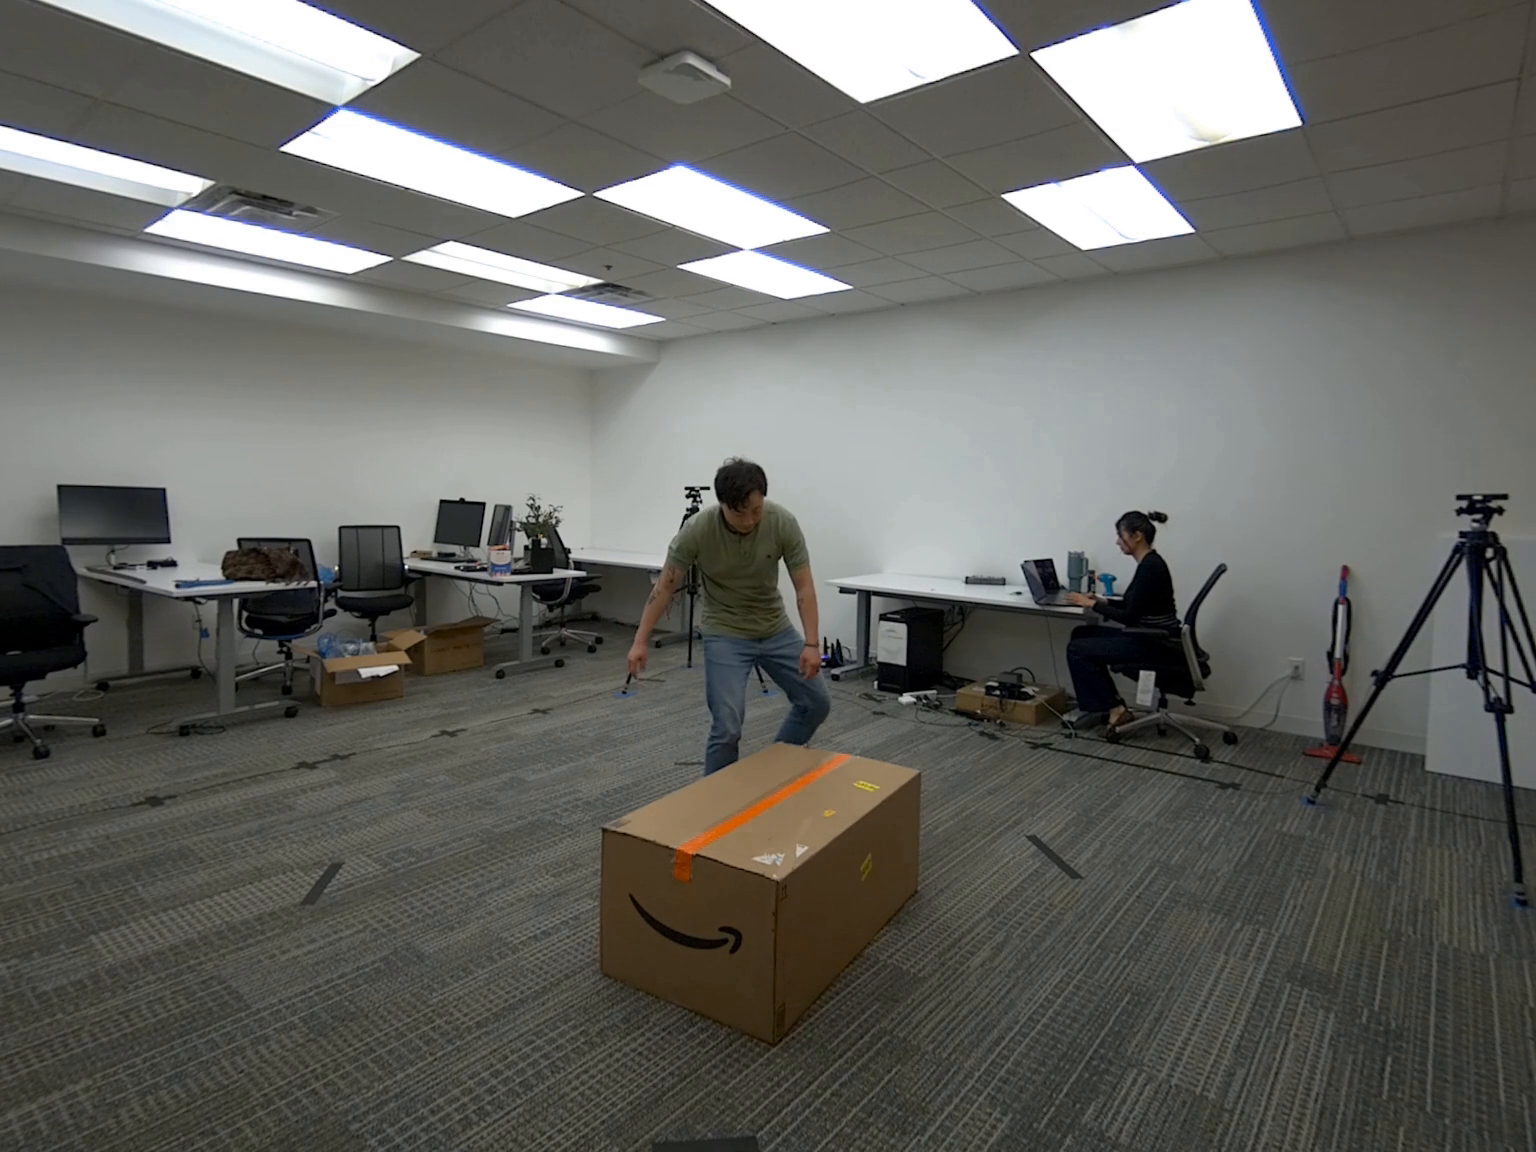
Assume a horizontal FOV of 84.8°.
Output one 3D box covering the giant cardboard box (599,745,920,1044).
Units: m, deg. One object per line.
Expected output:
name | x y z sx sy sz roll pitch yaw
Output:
giant cardboard box | 0.016 0.897 2.685 0.595 0.424 0.999 4 6 31
